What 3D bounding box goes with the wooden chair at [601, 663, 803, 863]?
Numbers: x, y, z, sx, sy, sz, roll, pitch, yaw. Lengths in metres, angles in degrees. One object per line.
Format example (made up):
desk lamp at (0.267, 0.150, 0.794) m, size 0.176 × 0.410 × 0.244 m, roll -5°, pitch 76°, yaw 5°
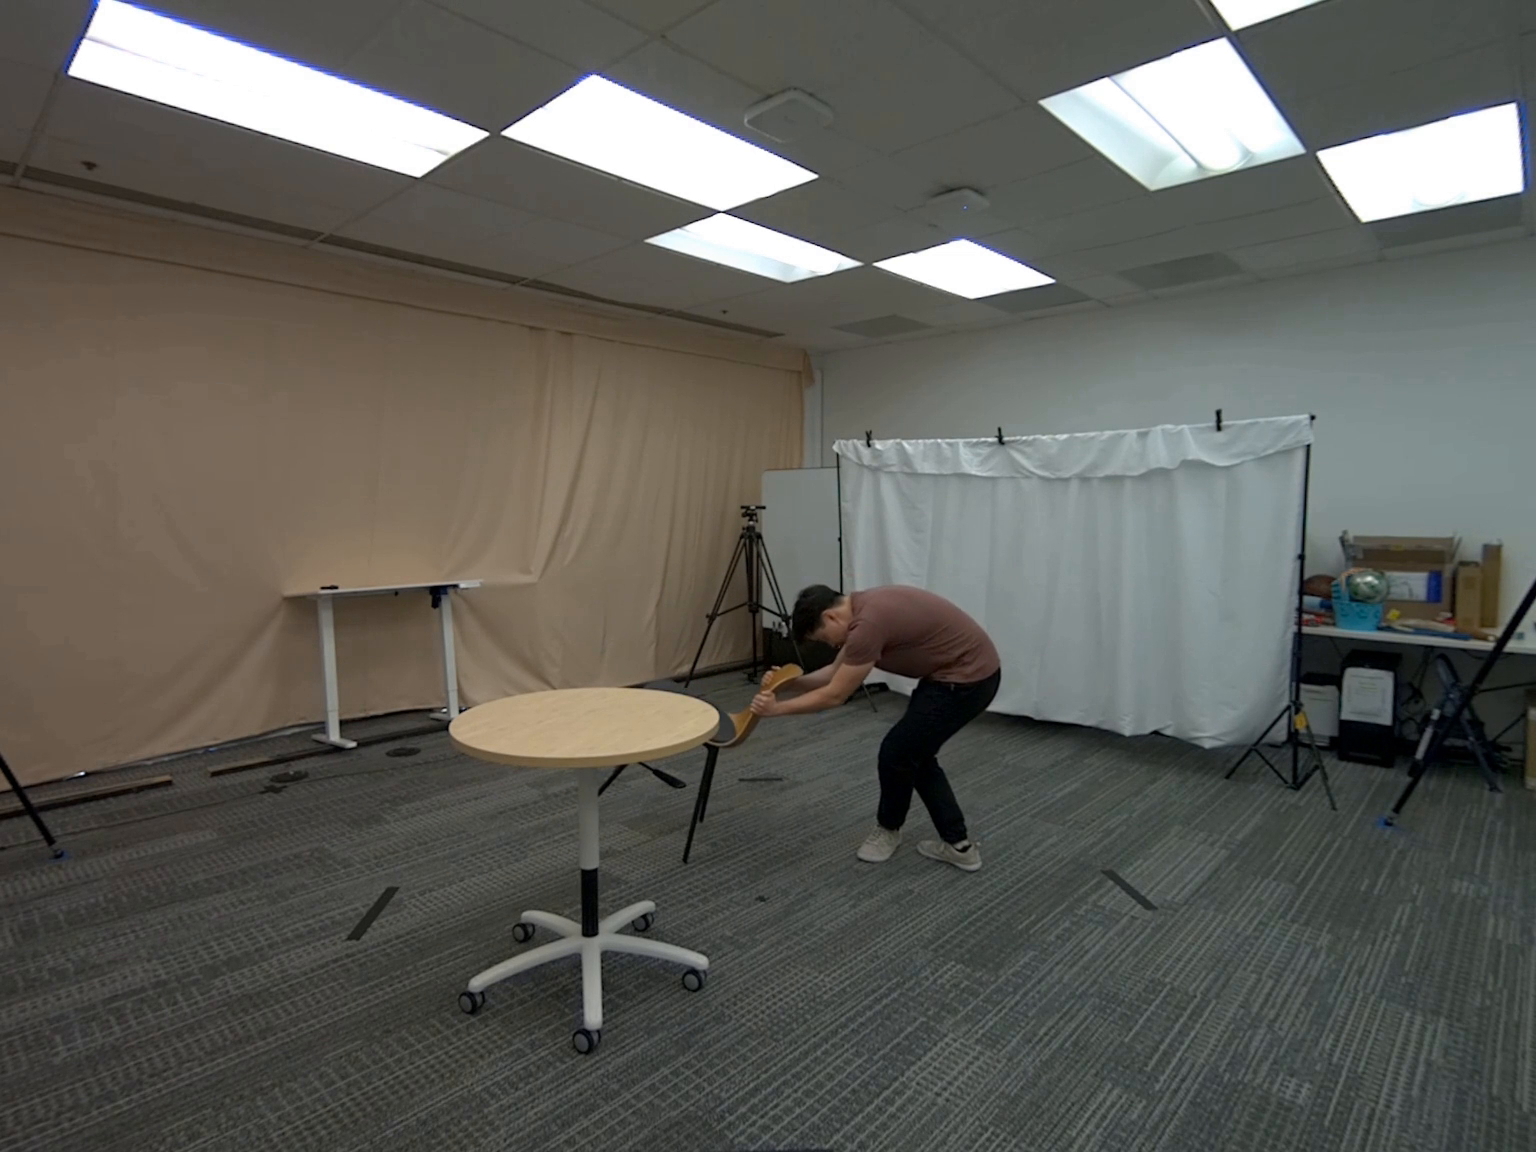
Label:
wooden chair at (-0.311, 0.626, 3.478) m, size 0.527 × 0.877 × 0.475 m, roll 32°, pitch 6°, yaw 4°
